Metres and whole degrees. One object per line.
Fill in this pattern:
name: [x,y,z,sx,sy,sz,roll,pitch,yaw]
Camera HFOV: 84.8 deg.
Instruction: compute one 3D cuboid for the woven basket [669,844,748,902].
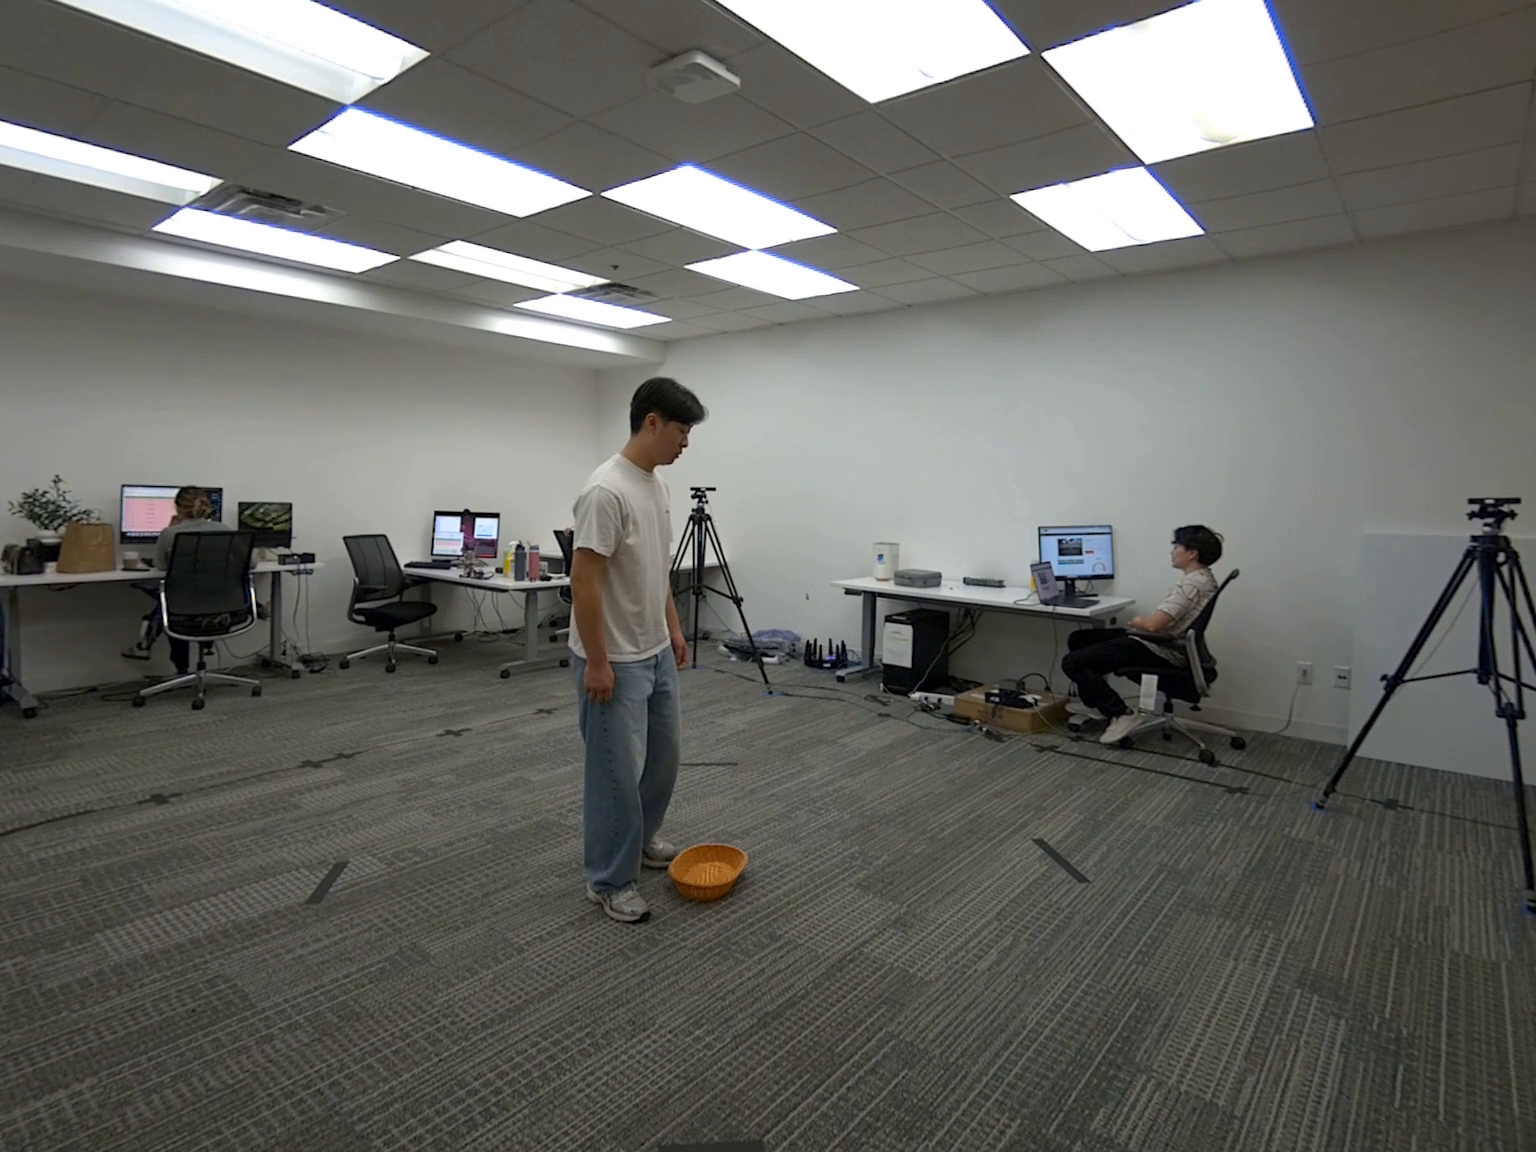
woven basket: [-0.206,1.042,2.982,0.258,0.073,0.344,3,6,20]
